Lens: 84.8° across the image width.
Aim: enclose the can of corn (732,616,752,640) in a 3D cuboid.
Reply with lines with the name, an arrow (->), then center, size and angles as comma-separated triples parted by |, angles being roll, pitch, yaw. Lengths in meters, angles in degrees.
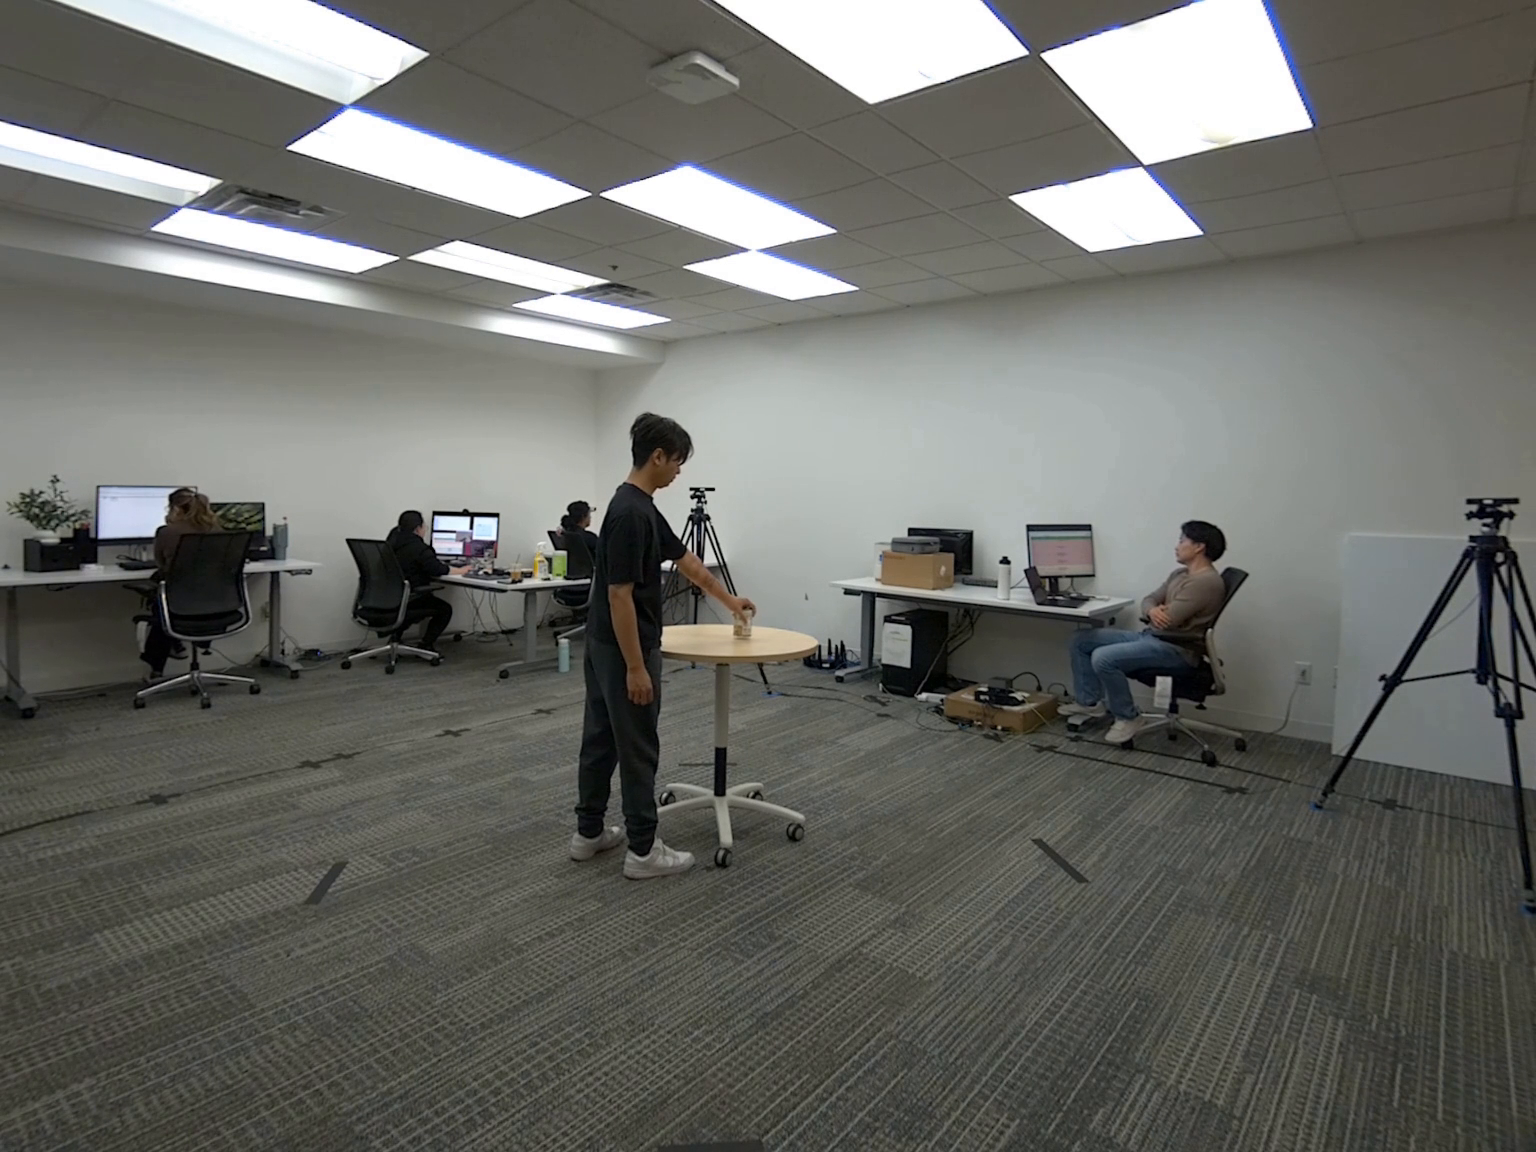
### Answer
can of corn -> -0.118, 0.181, 3.477 | 0.074, 0.111, 0.074 | 0, -1, -2
